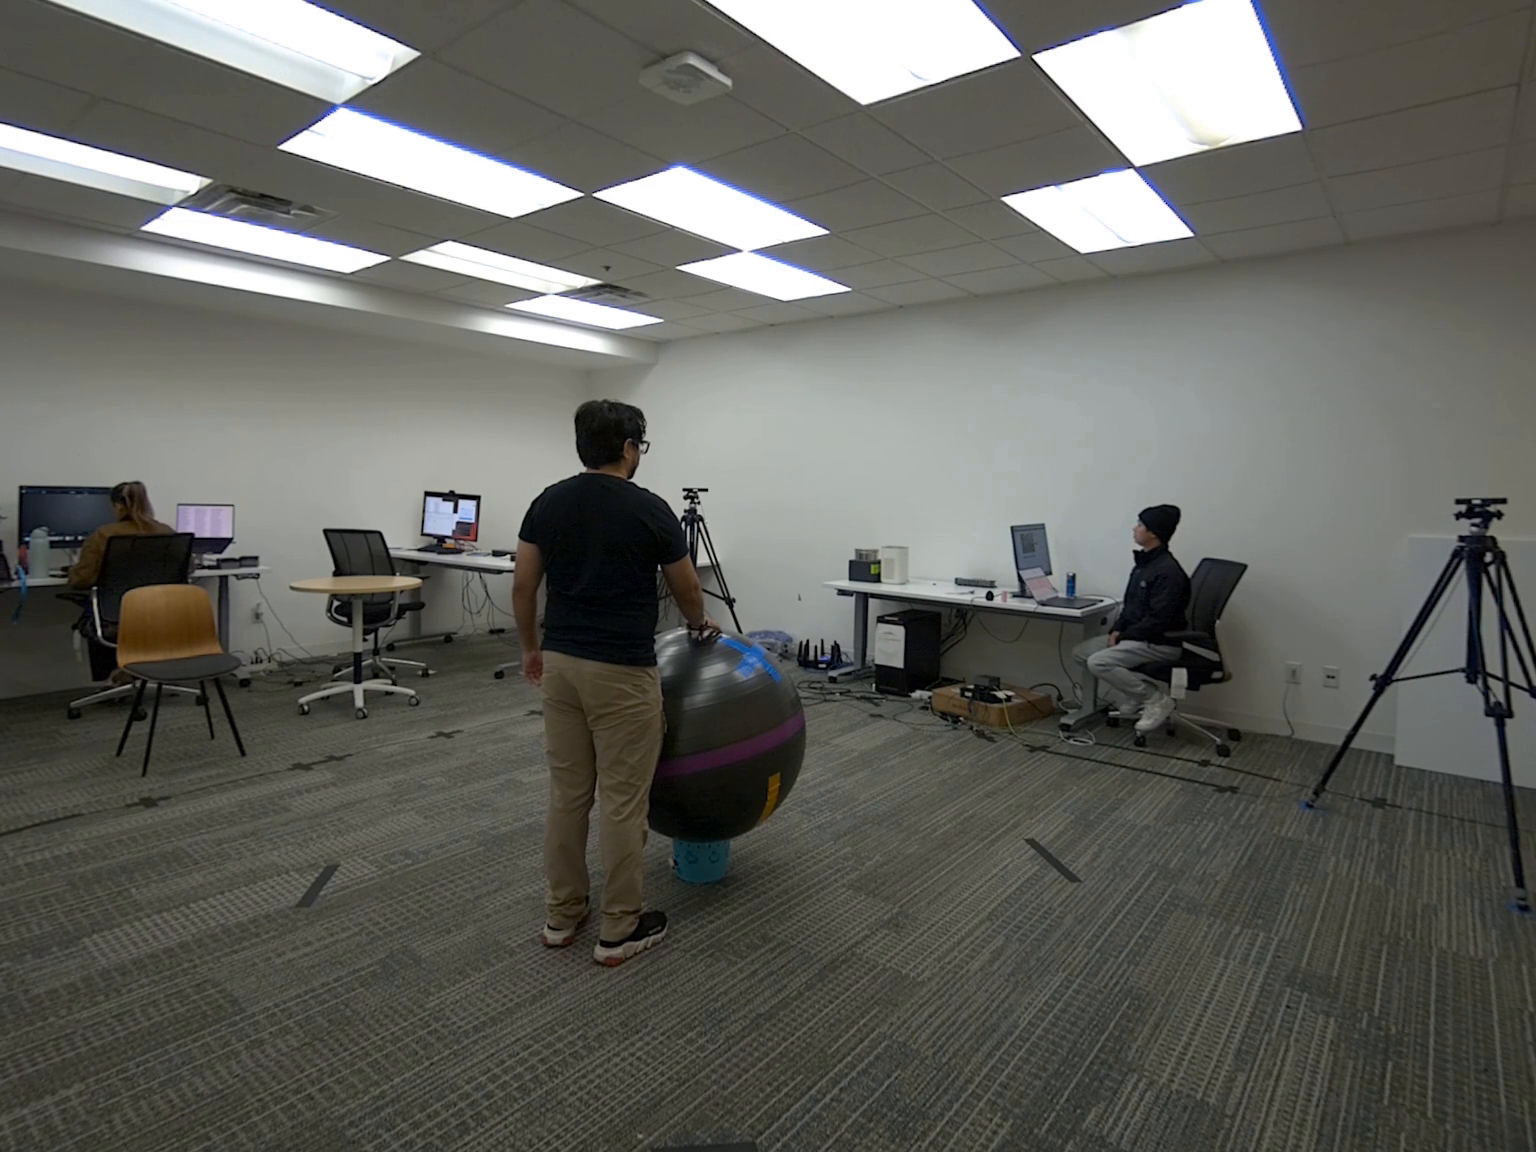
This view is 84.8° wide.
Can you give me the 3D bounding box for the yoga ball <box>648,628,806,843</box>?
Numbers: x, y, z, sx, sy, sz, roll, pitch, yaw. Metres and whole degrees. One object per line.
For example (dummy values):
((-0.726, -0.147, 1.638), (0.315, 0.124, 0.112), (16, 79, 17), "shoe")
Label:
((-0.262, 0.563, 3.074), (0.757, 0.756, 0.762), (1, 4, -2), "yoga ball")
